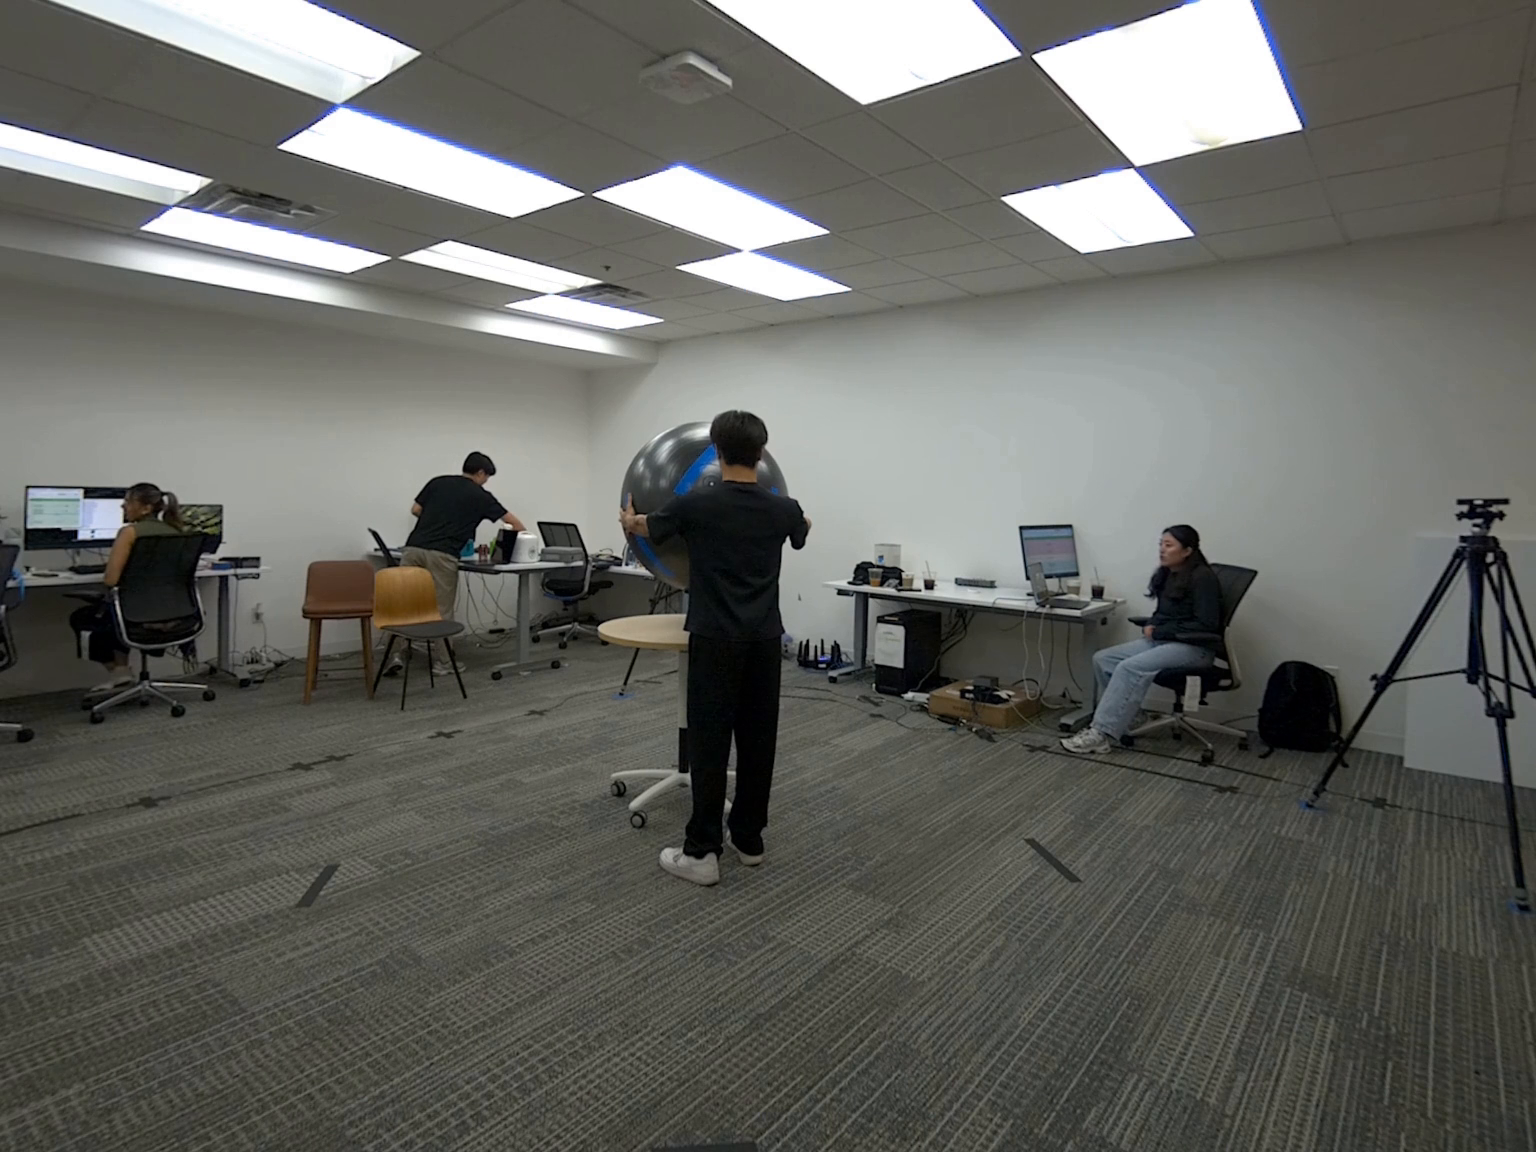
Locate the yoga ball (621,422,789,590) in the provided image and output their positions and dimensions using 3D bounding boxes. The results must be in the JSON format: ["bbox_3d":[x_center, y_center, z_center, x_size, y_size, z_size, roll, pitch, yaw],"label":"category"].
[{"bbox_3d":[-0.293,-0.313,3.813,0.757,0.755,0.762,1,4,-2],"label":"yoga ball"}]
